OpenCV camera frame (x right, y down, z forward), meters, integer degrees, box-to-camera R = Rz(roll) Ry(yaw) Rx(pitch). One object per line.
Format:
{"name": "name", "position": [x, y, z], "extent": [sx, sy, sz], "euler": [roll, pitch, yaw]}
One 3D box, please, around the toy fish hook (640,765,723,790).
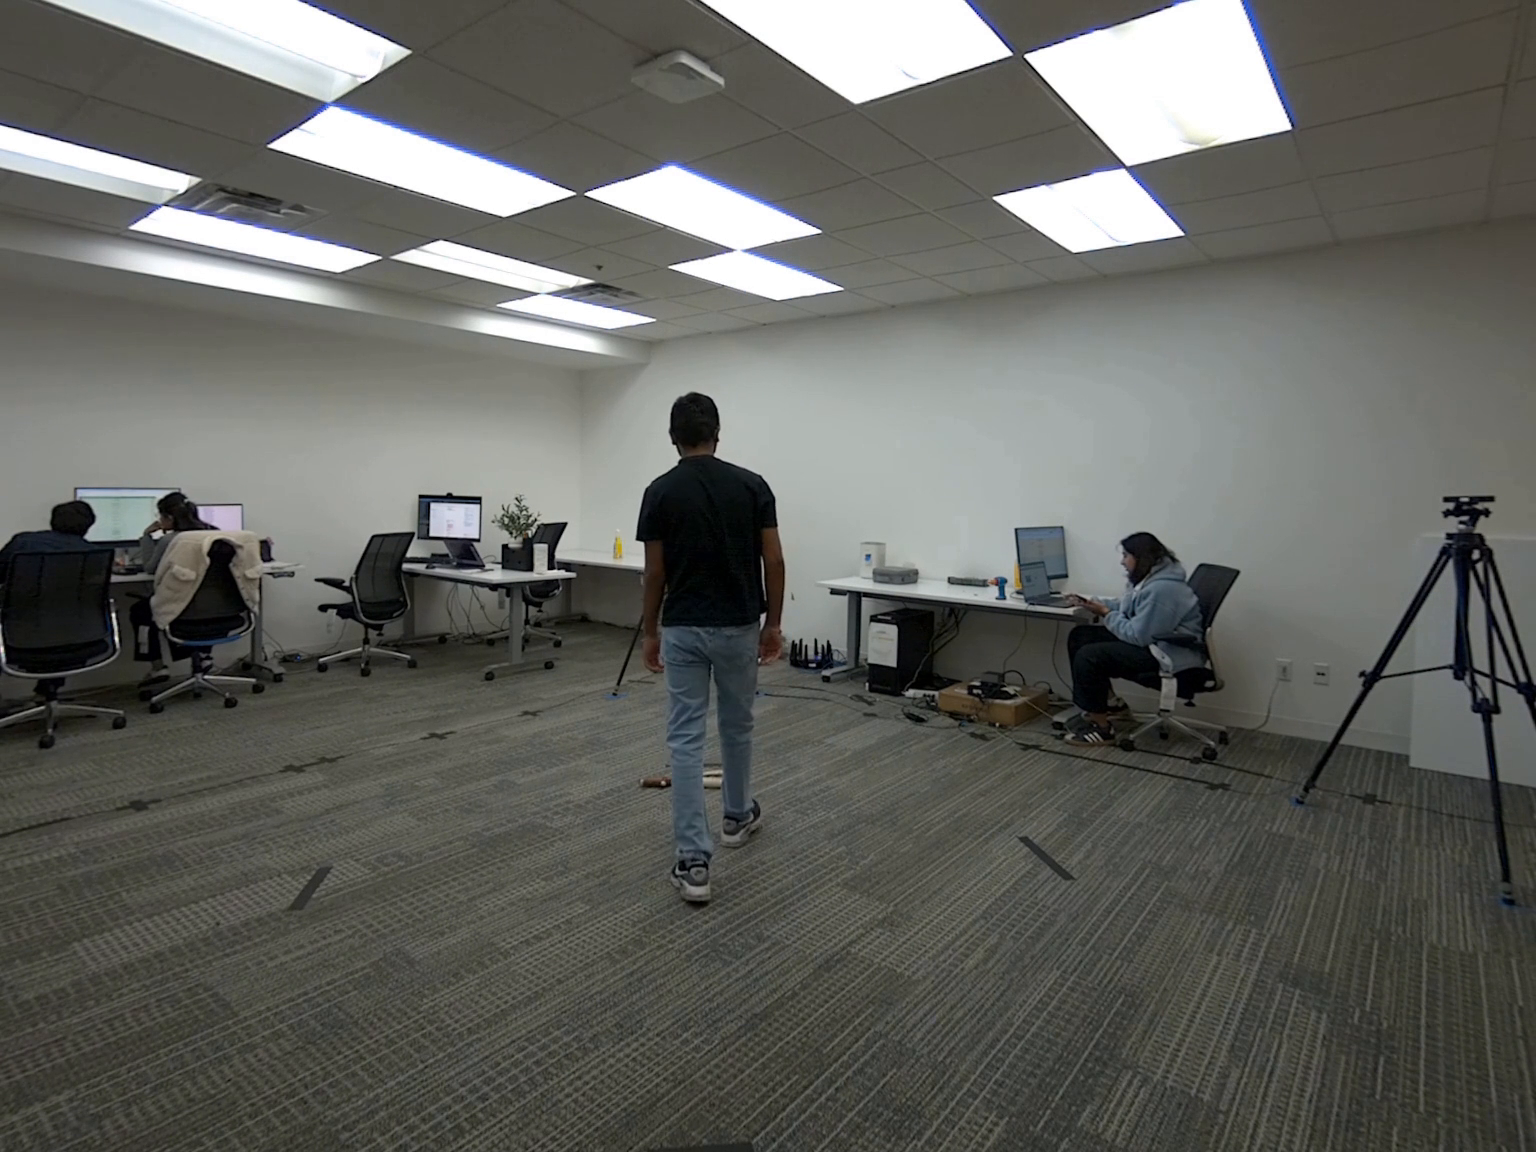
{"name": "toy fish hook", "position": [-0.376, 0.960, 4.042], "extent": [0.502, 0.048, 0.226], "euler": [1, -1, -8]}
